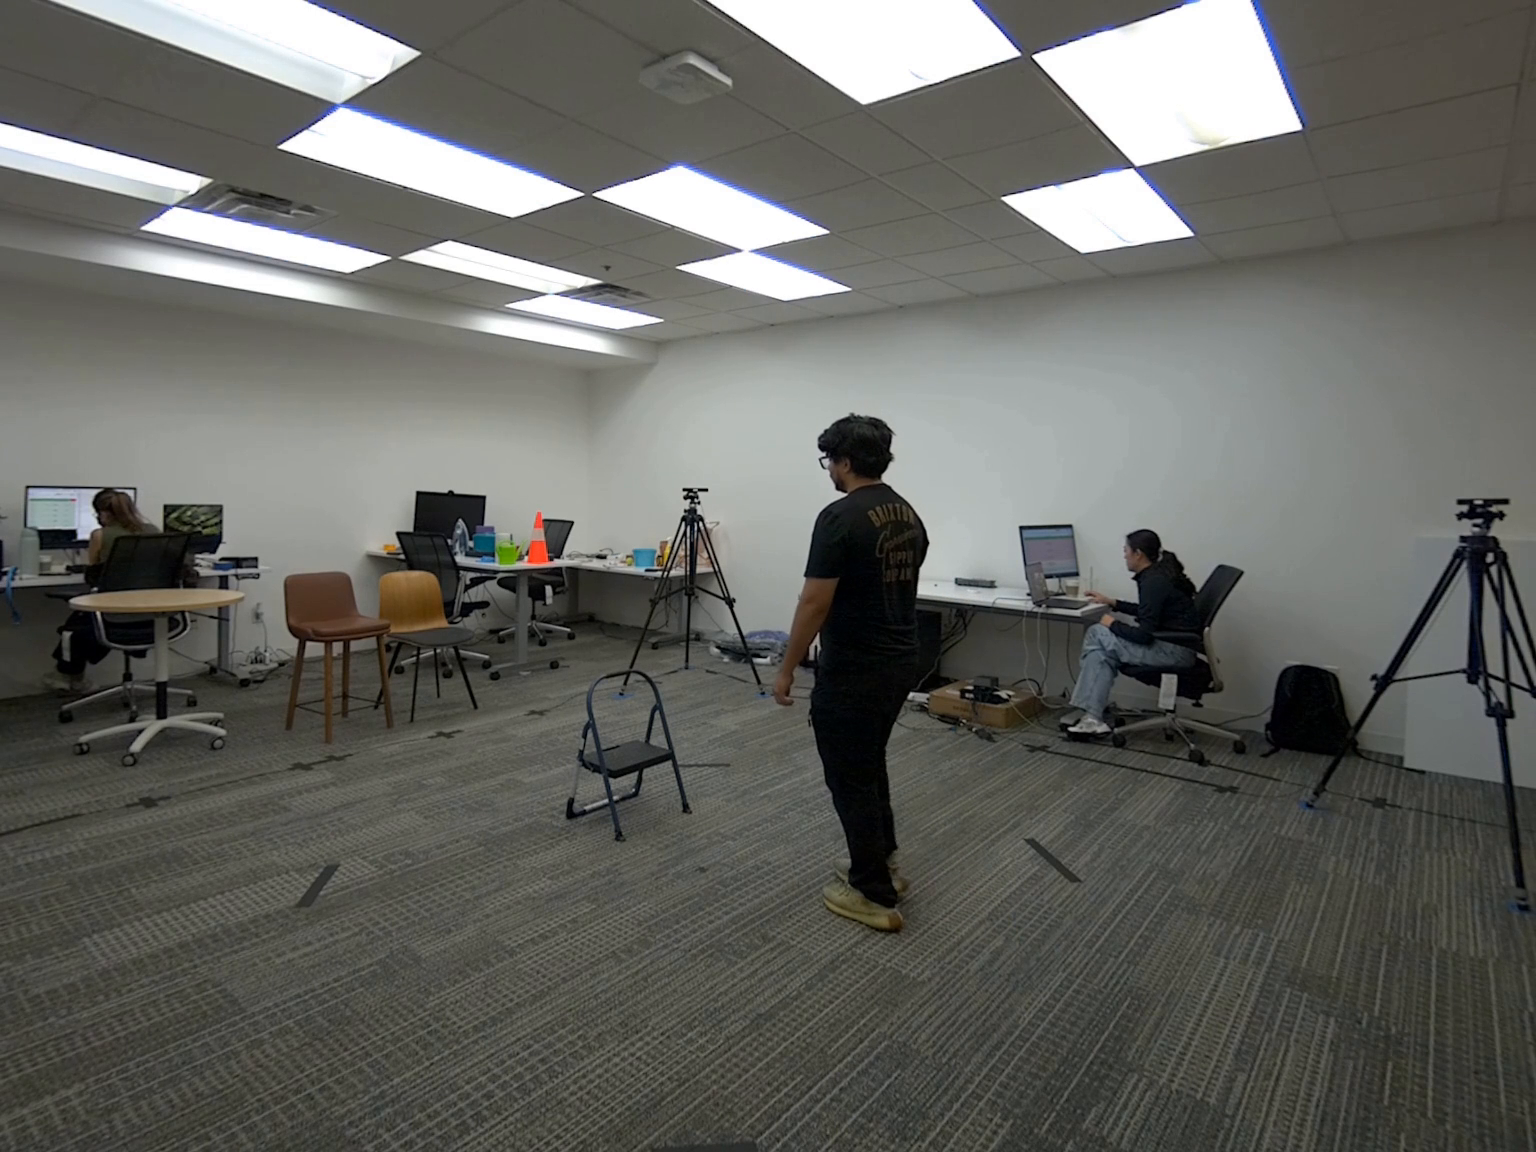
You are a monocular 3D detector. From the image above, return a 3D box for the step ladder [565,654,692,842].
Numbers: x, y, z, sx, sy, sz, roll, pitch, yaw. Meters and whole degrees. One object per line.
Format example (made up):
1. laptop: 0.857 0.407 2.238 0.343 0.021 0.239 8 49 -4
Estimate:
1. step ladder: -0.596 0.713 3.598 0.361 0.604 0.418 3 4 38
